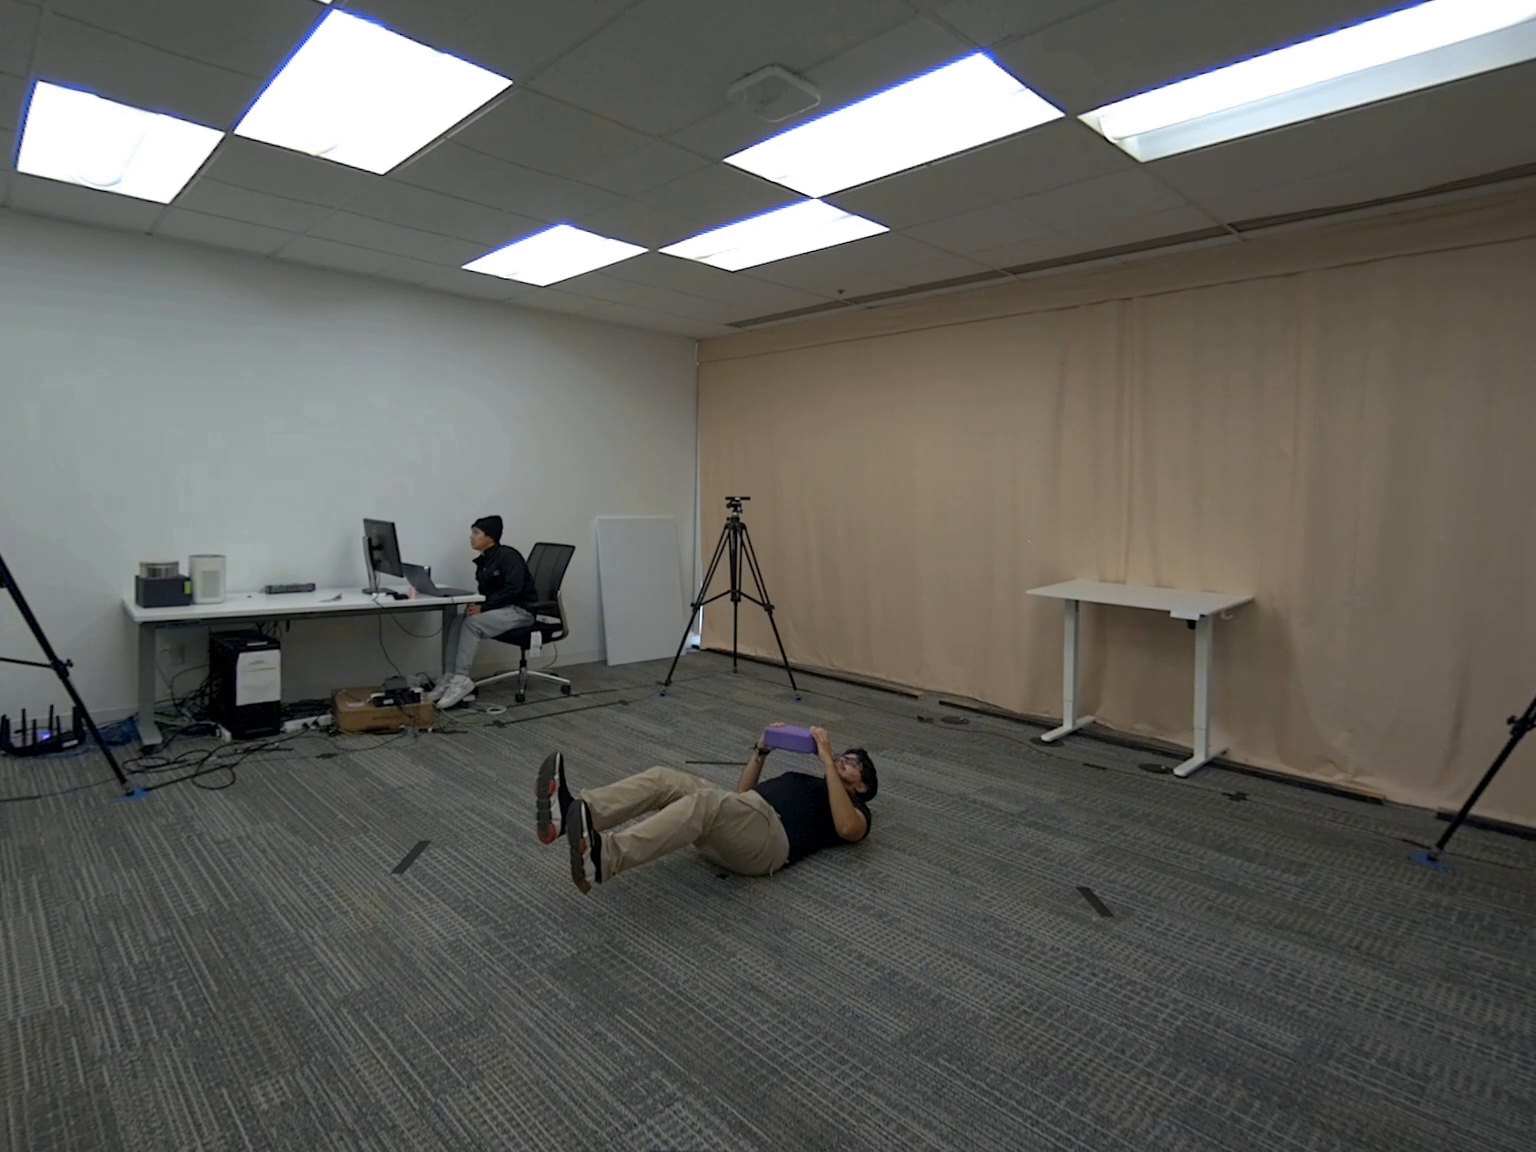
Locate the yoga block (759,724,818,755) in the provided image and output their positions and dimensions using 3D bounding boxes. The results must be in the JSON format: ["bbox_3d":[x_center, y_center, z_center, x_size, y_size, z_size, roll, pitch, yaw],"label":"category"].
[{"bbox_3d":[0.105,0.673,3.460,0.235,0.076,0.145,1,-2,38],"label":"yoga block"}]
